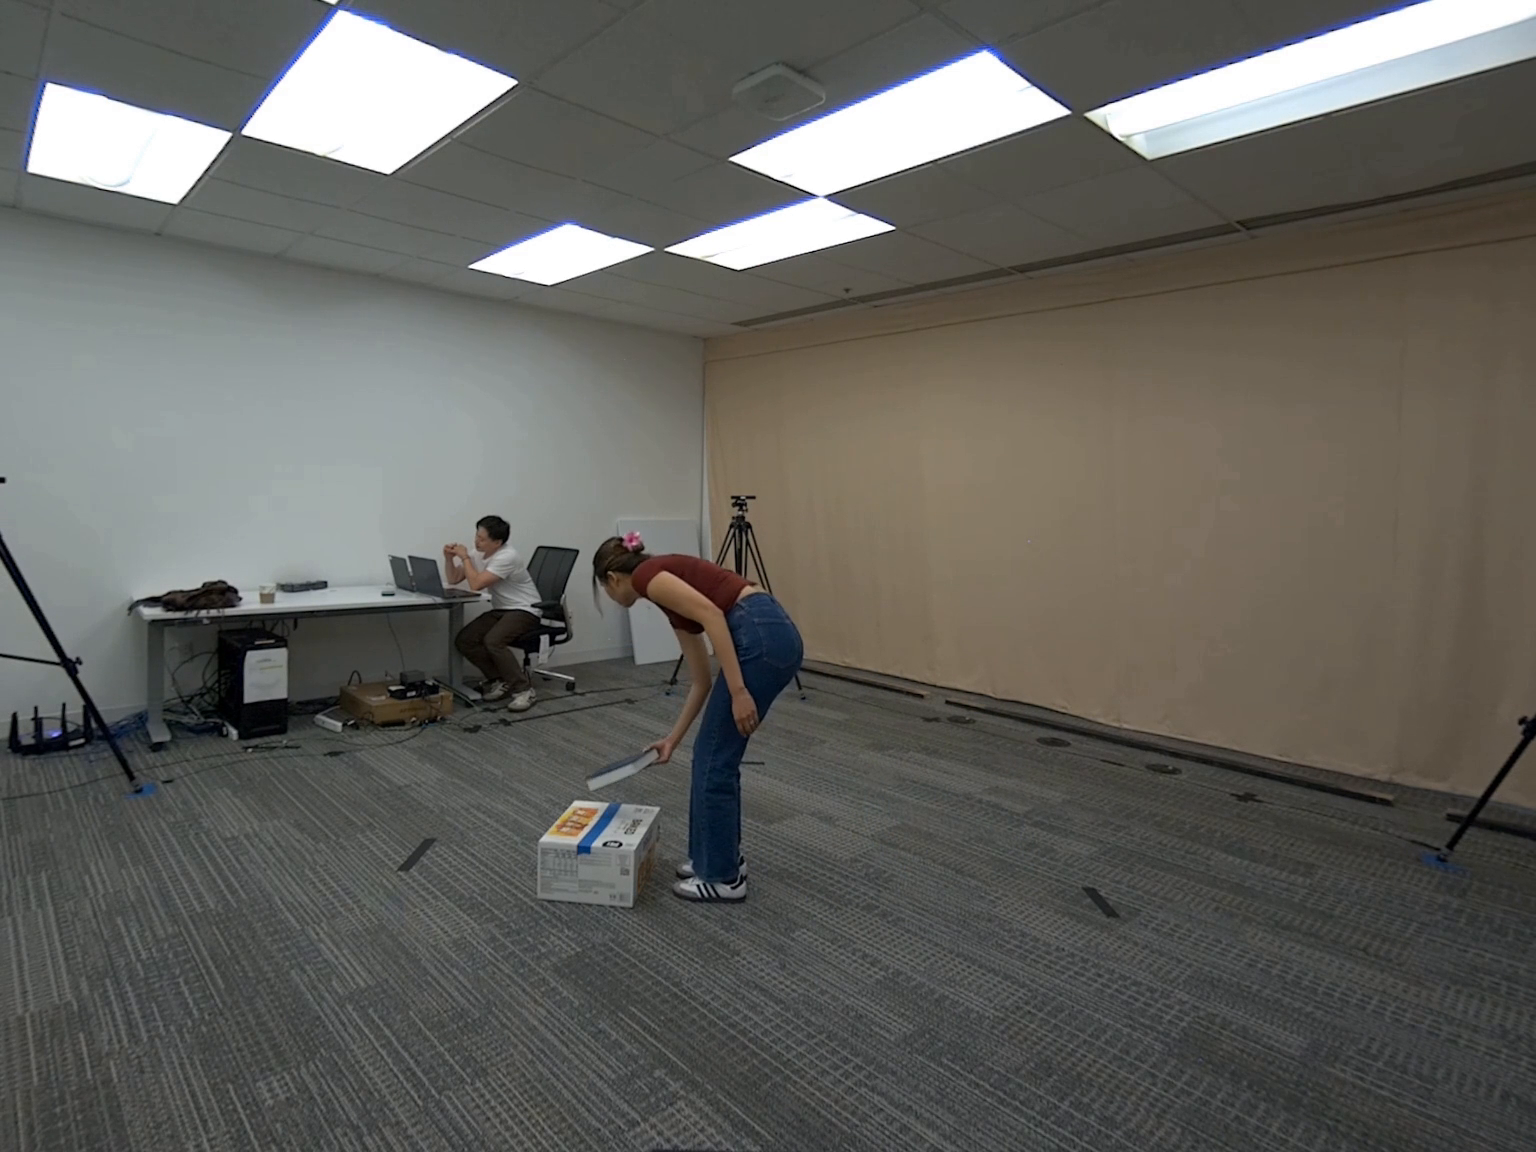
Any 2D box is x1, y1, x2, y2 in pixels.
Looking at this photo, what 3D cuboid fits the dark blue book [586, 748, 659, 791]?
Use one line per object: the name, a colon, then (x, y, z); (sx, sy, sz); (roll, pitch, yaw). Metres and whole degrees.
dark blue book: (-0.541, 0.693, 3.115); (0.247, 0.045, 0.161); (-24, 0, 27)
